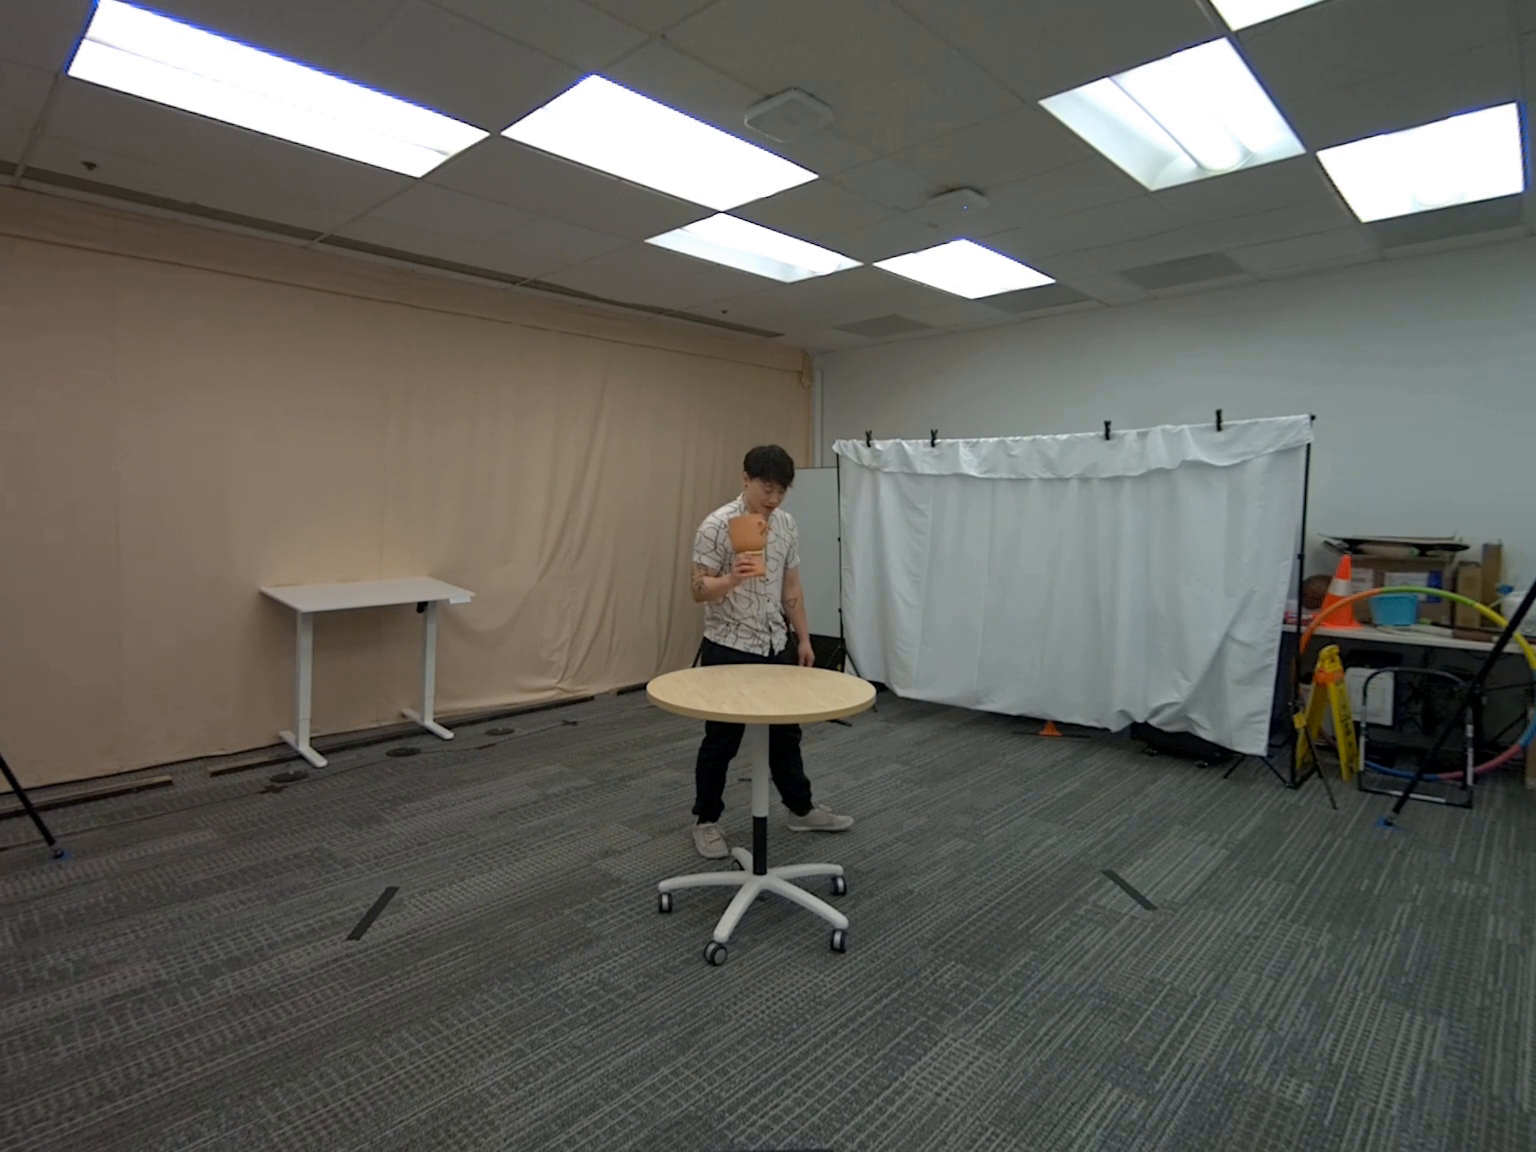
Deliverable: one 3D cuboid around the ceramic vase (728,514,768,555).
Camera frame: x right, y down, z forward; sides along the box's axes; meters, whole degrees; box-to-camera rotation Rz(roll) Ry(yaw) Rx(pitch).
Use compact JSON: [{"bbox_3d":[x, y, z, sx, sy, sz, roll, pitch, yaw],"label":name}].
[{"bbox_3d":[-0.068,-0.113,3.103,0.133,0.221,0.160,-6,-5,-10],"label":"ceramic vase"}]
